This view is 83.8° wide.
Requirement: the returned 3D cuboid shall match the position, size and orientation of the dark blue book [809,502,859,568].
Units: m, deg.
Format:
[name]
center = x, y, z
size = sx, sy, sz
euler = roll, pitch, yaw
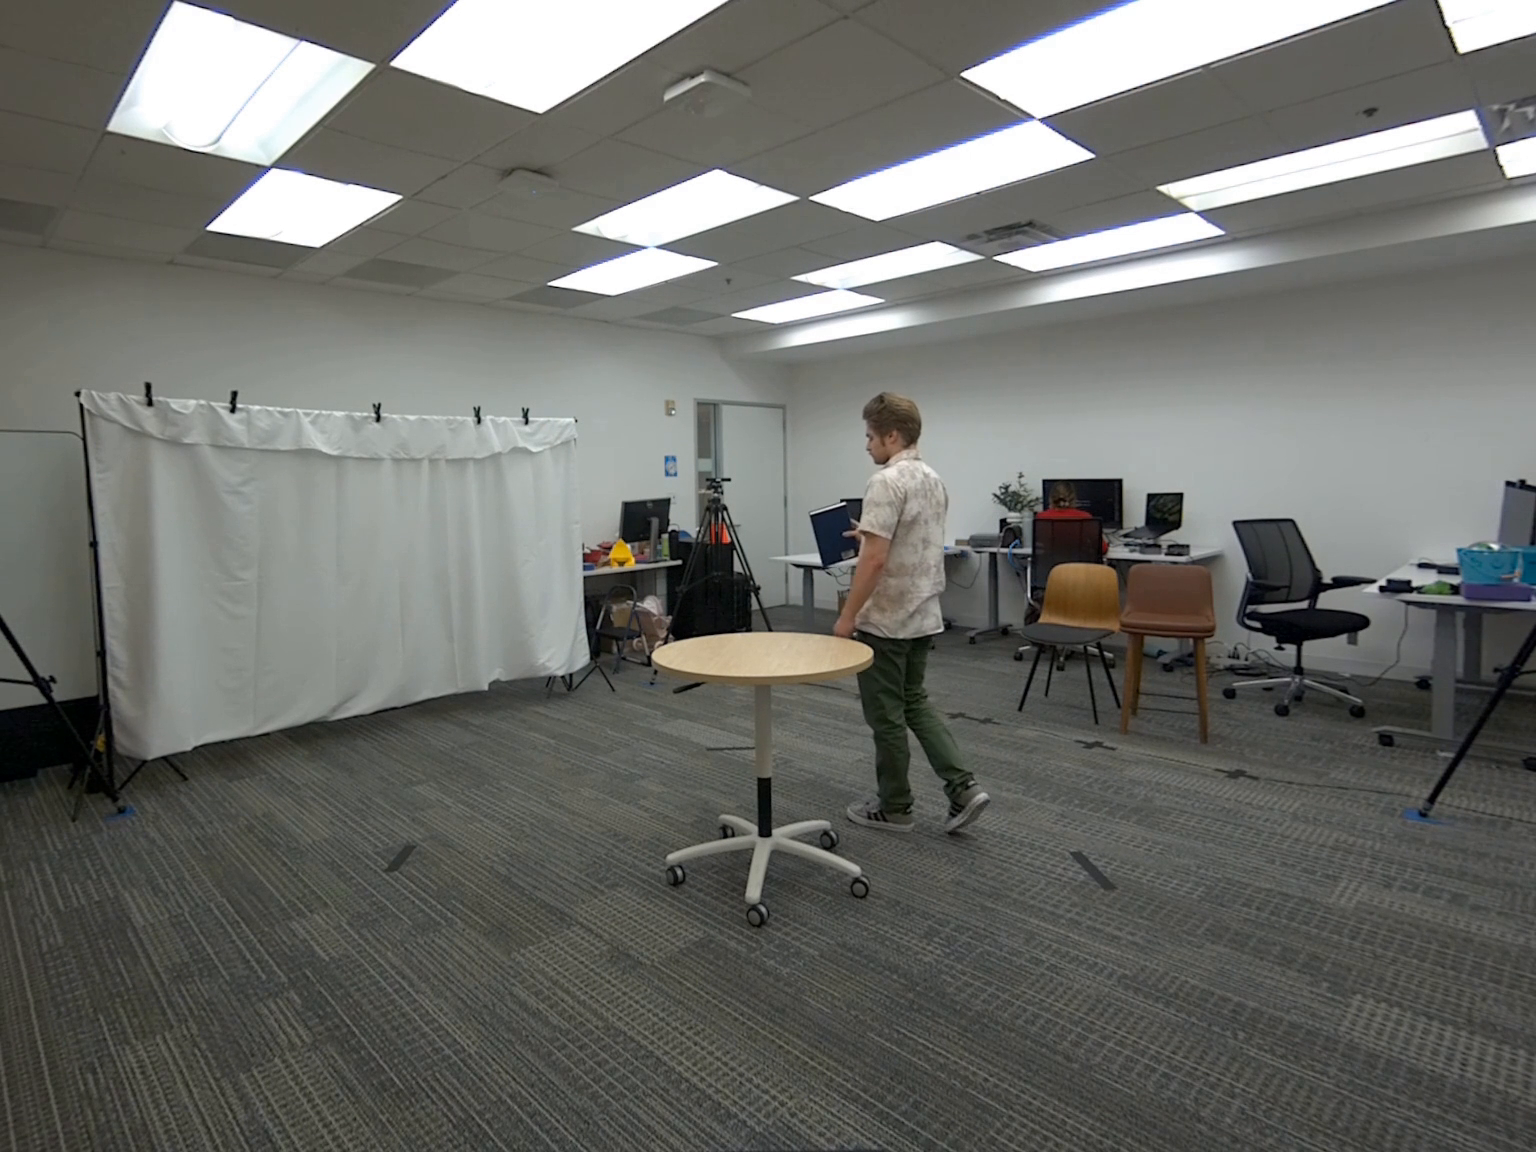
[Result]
[dark blue book]
center = 0.289, -0.177, 3.607
size = 0.163, 0.240, 0.046
euler = -15, 17, 1
